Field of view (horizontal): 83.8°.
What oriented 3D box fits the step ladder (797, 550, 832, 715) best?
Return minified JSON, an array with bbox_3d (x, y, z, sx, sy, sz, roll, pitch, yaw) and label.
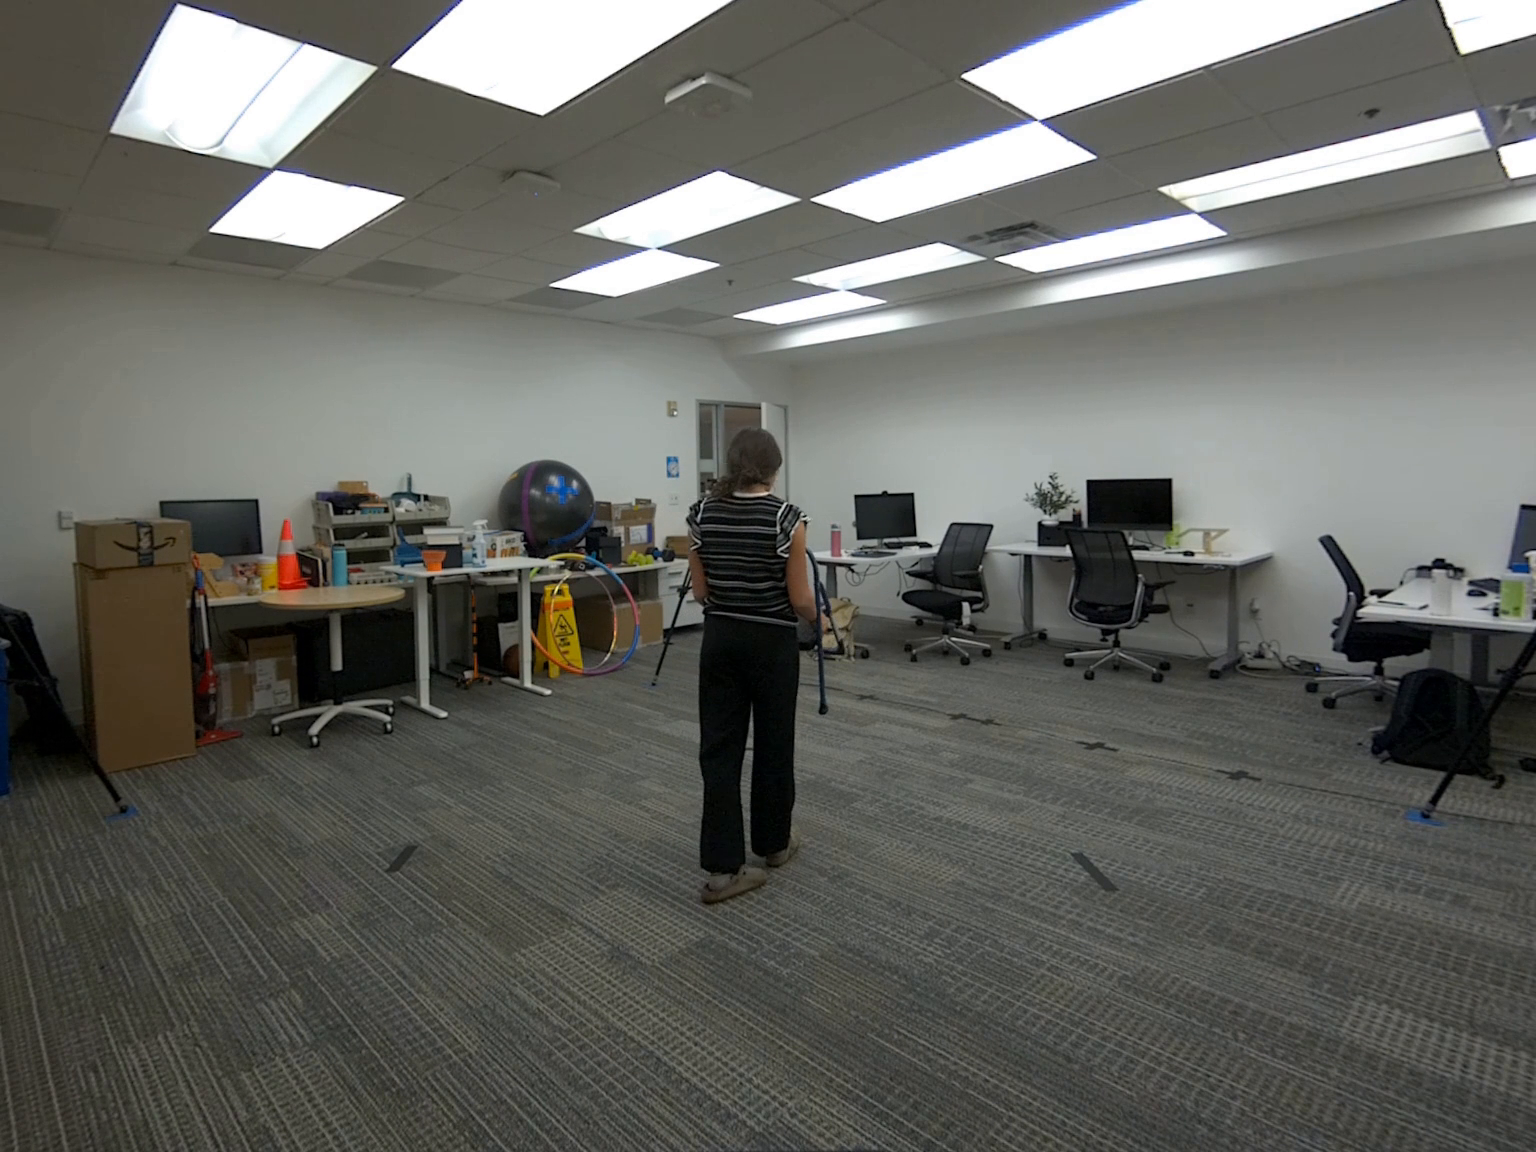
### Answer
[{"bbox_3d":[0.015,0.138,3.150,0.440,0.589,0.352,2,34,21],"label":"step ladder"}]
